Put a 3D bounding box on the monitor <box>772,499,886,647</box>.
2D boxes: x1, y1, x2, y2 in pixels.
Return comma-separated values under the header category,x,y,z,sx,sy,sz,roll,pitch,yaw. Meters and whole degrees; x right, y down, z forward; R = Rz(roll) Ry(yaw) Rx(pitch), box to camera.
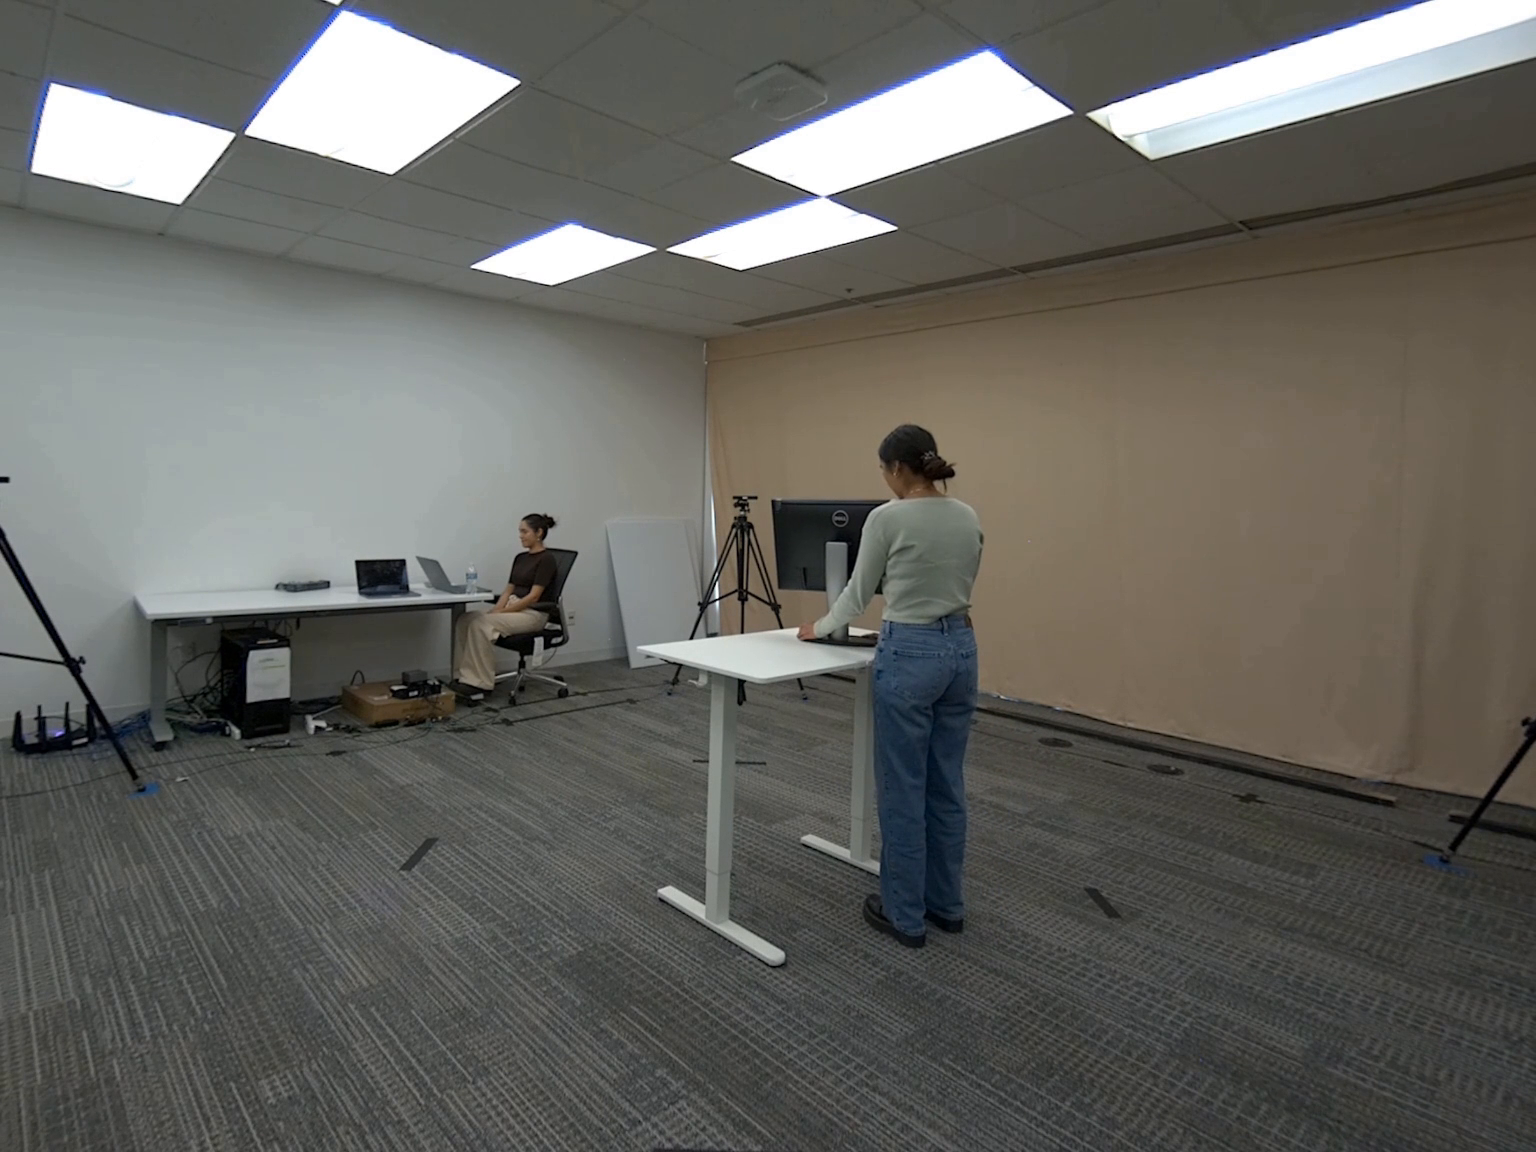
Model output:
category,x,y,z,sx,sy,sz,roll,pitch,yaw
monitor,0.270,-0.016,3.018,0.538,0.516,0.172,1,1,21
